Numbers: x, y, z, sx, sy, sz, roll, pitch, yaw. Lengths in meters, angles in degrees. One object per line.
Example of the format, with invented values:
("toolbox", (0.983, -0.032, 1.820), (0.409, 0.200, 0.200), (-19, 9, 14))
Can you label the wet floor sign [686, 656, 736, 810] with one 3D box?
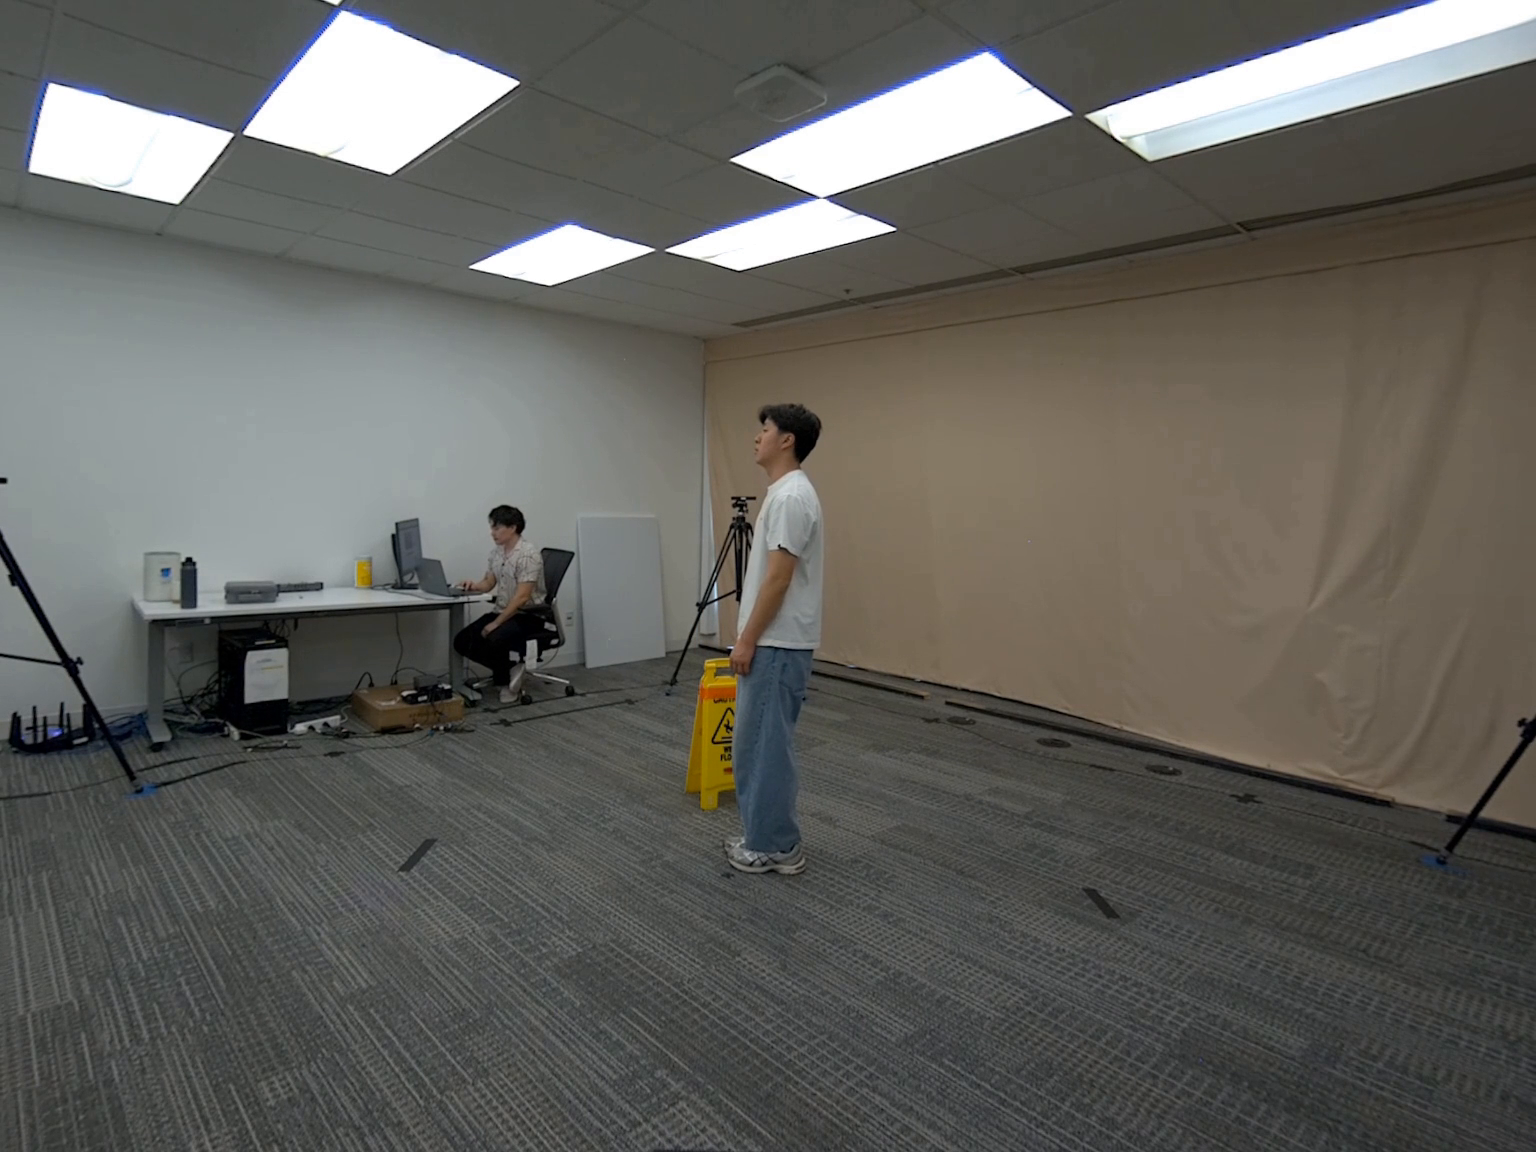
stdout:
("wet floor sign", (-0.217, 0.707, 3.907), (0.278, 0.645, 0.295), (1, 2, -22))
